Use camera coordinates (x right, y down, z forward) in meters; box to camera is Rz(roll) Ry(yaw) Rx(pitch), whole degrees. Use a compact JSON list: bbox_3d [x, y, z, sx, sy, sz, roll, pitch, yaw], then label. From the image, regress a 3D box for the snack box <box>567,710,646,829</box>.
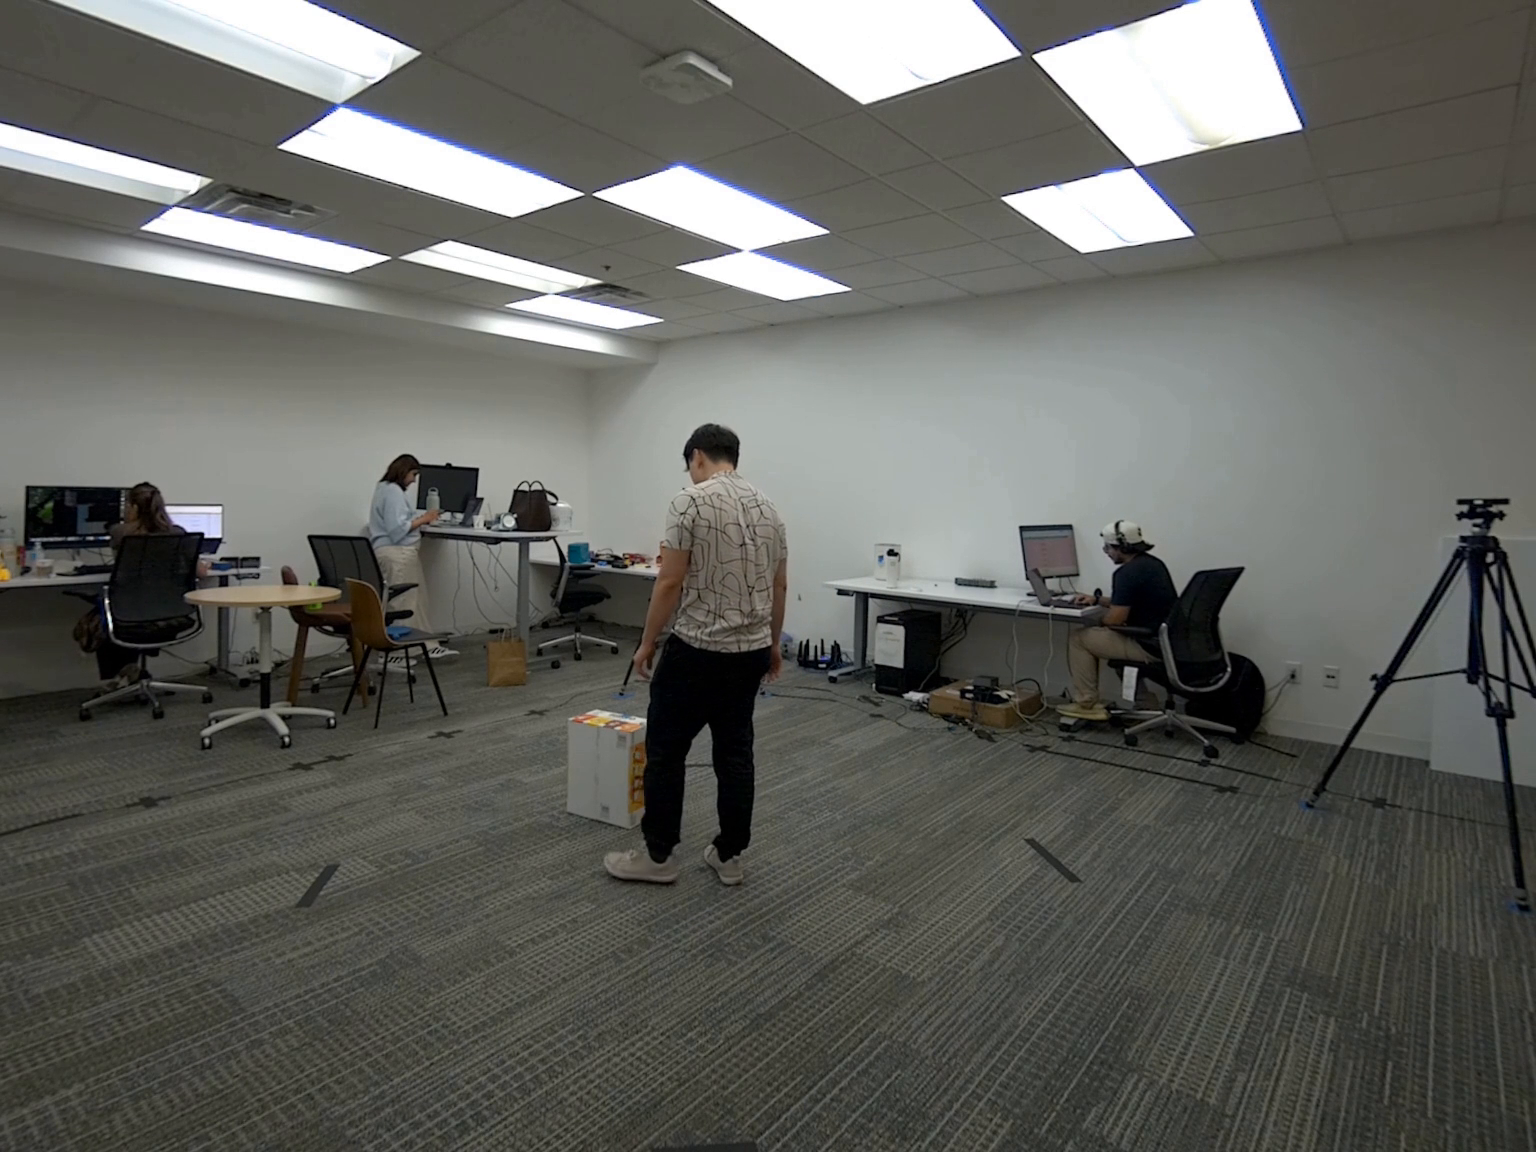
[{"bbox_3d":[-0.677,0.809,3.620,0.350,0.404,0.200,4,4,30],"label":"snack box"}]
